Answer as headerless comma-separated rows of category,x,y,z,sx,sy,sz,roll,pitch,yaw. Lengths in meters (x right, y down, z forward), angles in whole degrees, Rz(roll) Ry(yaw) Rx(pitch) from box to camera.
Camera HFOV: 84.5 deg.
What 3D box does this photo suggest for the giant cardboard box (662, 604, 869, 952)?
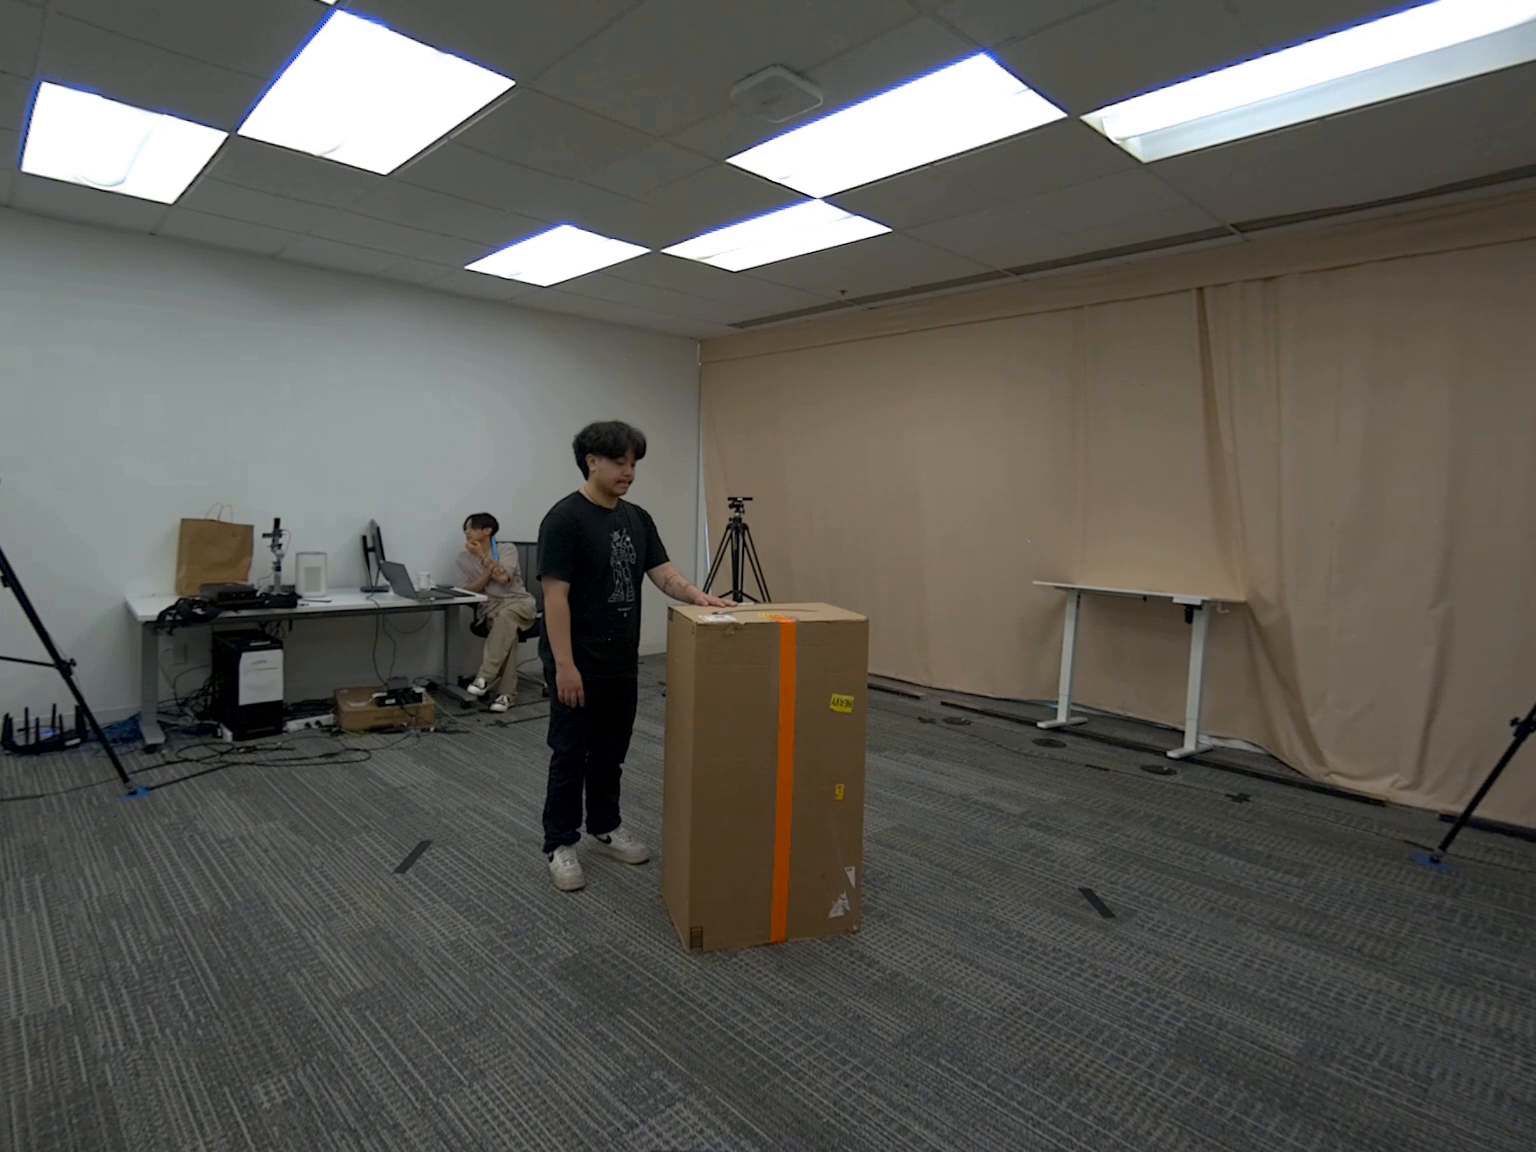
giant cardboard box,-0.031,0.625,2.814,0.576,1.024,0.454,0,4,-17
